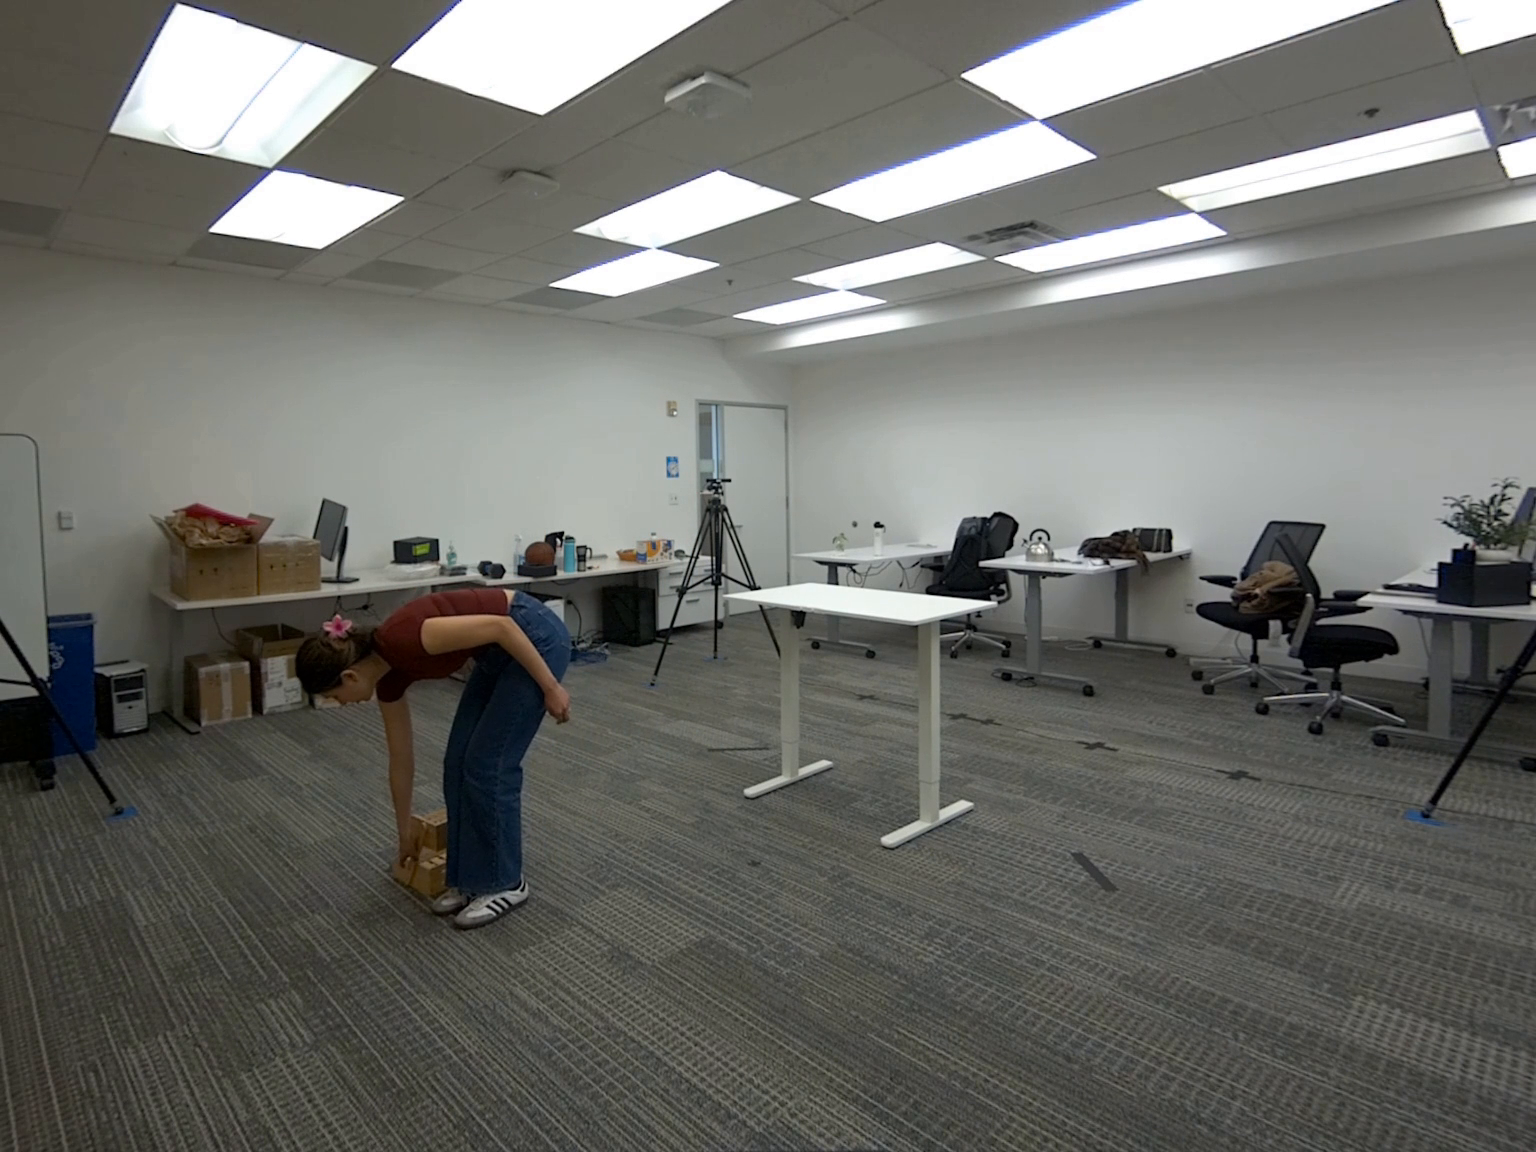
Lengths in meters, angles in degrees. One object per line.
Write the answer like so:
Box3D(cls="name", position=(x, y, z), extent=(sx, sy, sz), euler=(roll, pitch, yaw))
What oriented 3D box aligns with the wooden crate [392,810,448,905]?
Box3D(cls="wooden crate", position=(-1.143, 0.938, 3.083), extent=(0.311, 0.272, 0.316), euler=(4, 7, 38))
